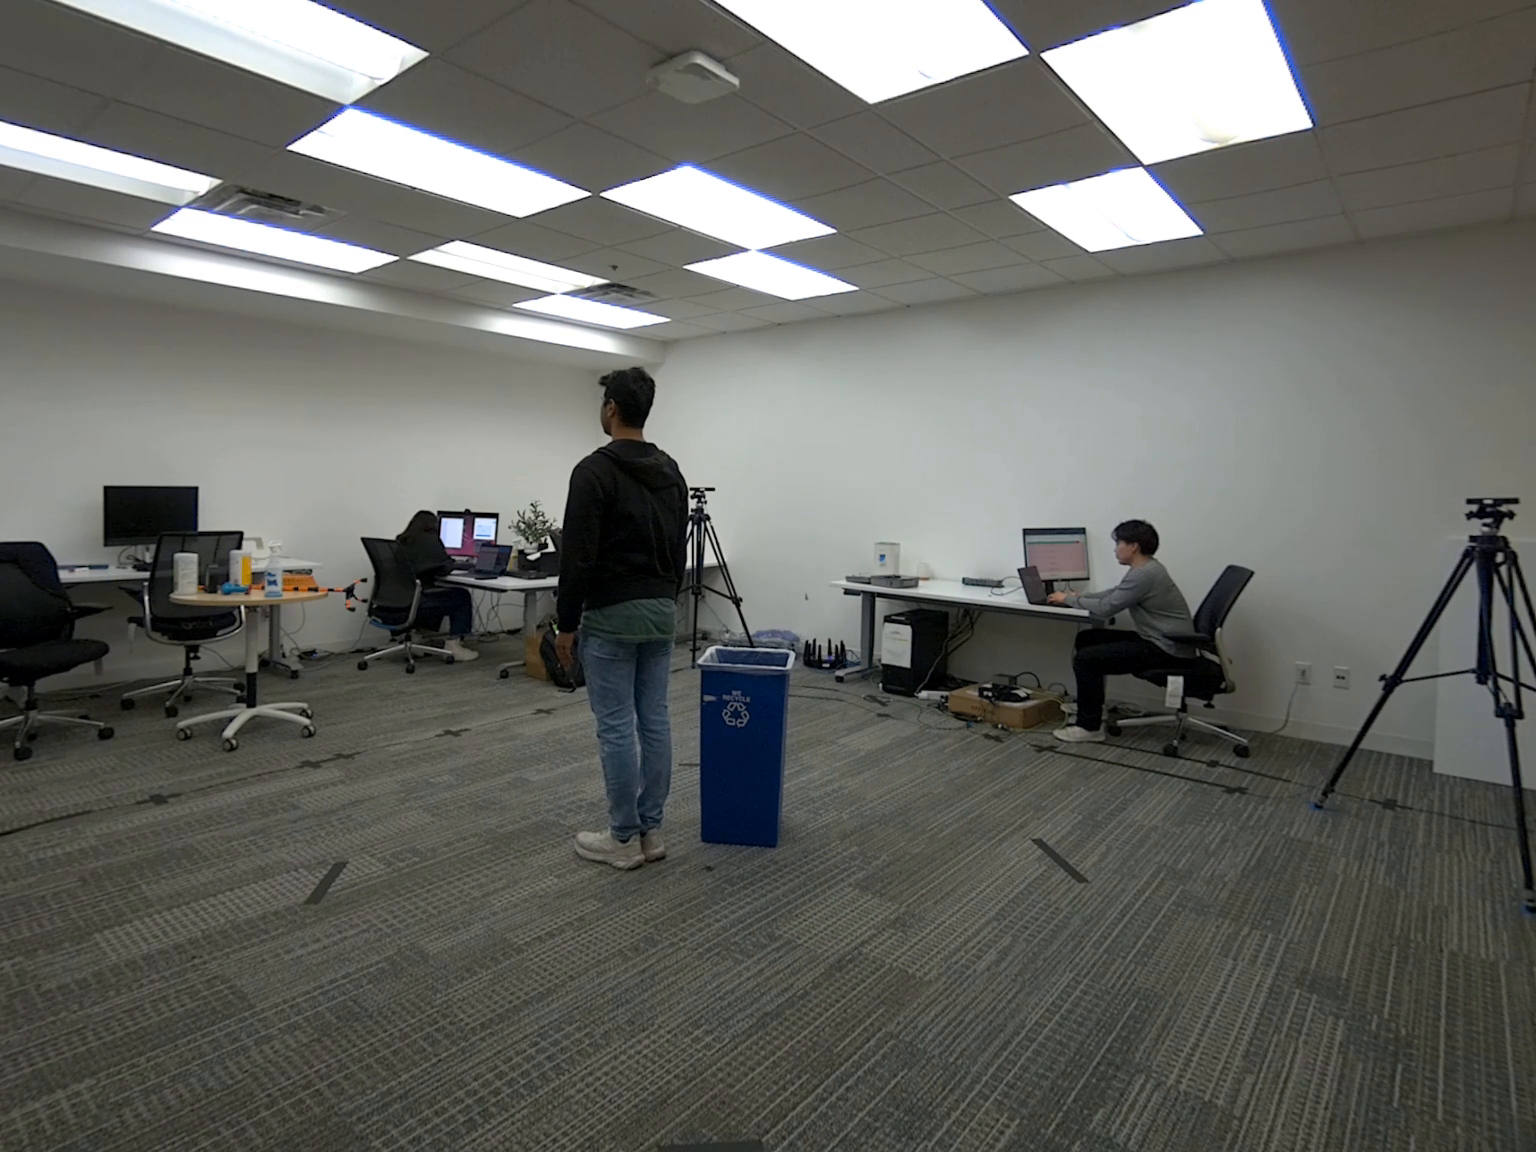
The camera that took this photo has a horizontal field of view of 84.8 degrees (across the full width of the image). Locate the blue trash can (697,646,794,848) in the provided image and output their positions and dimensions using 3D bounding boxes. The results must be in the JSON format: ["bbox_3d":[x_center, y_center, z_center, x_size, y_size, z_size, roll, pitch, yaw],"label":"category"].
[{"bbox_3d":[-0.100,0.676,3.446,0.381,0.712,0.372,2,3,7],"label":"blue trash can"}]
